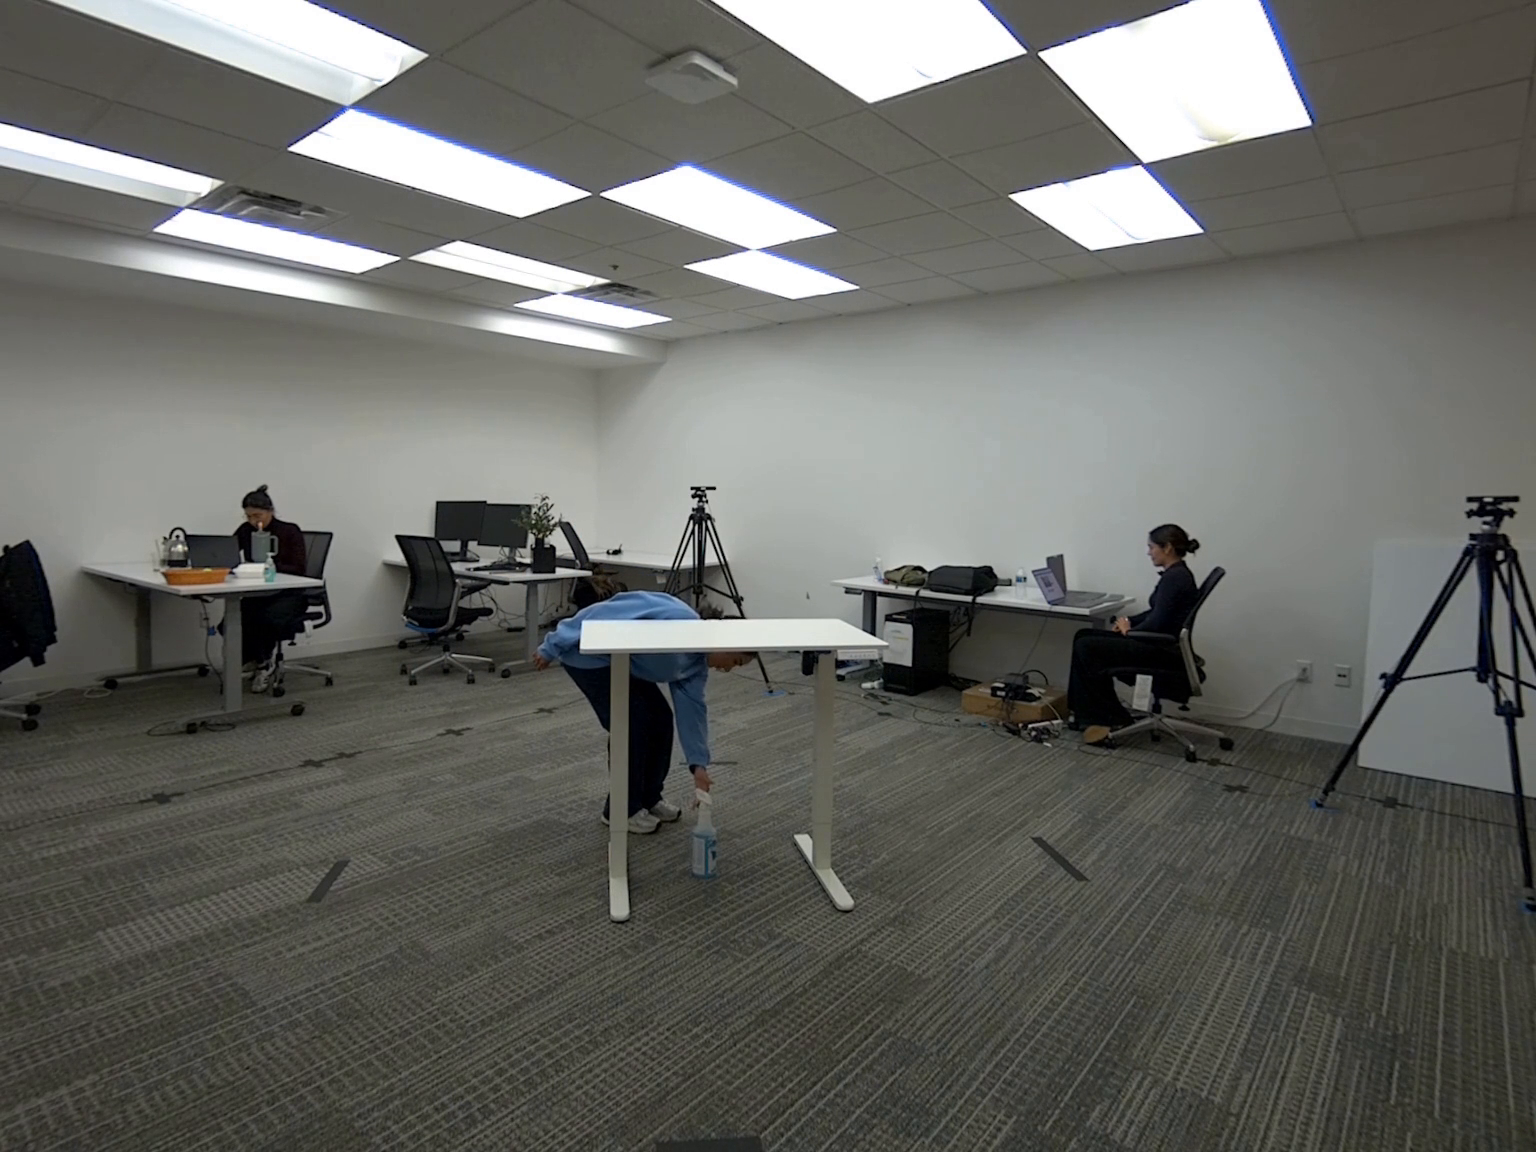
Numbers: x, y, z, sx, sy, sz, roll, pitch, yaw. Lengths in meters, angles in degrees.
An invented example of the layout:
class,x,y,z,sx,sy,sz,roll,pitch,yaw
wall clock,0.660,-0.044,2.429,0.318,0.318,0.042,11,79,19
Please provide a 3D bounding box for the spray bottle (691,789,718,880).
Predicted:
class,x,y,z,sx,sy,sz,roll,pitch,yaw
spray bottle,-0.236,0.923,3.062,0.086,0.296,0.091,-1,3,-13
